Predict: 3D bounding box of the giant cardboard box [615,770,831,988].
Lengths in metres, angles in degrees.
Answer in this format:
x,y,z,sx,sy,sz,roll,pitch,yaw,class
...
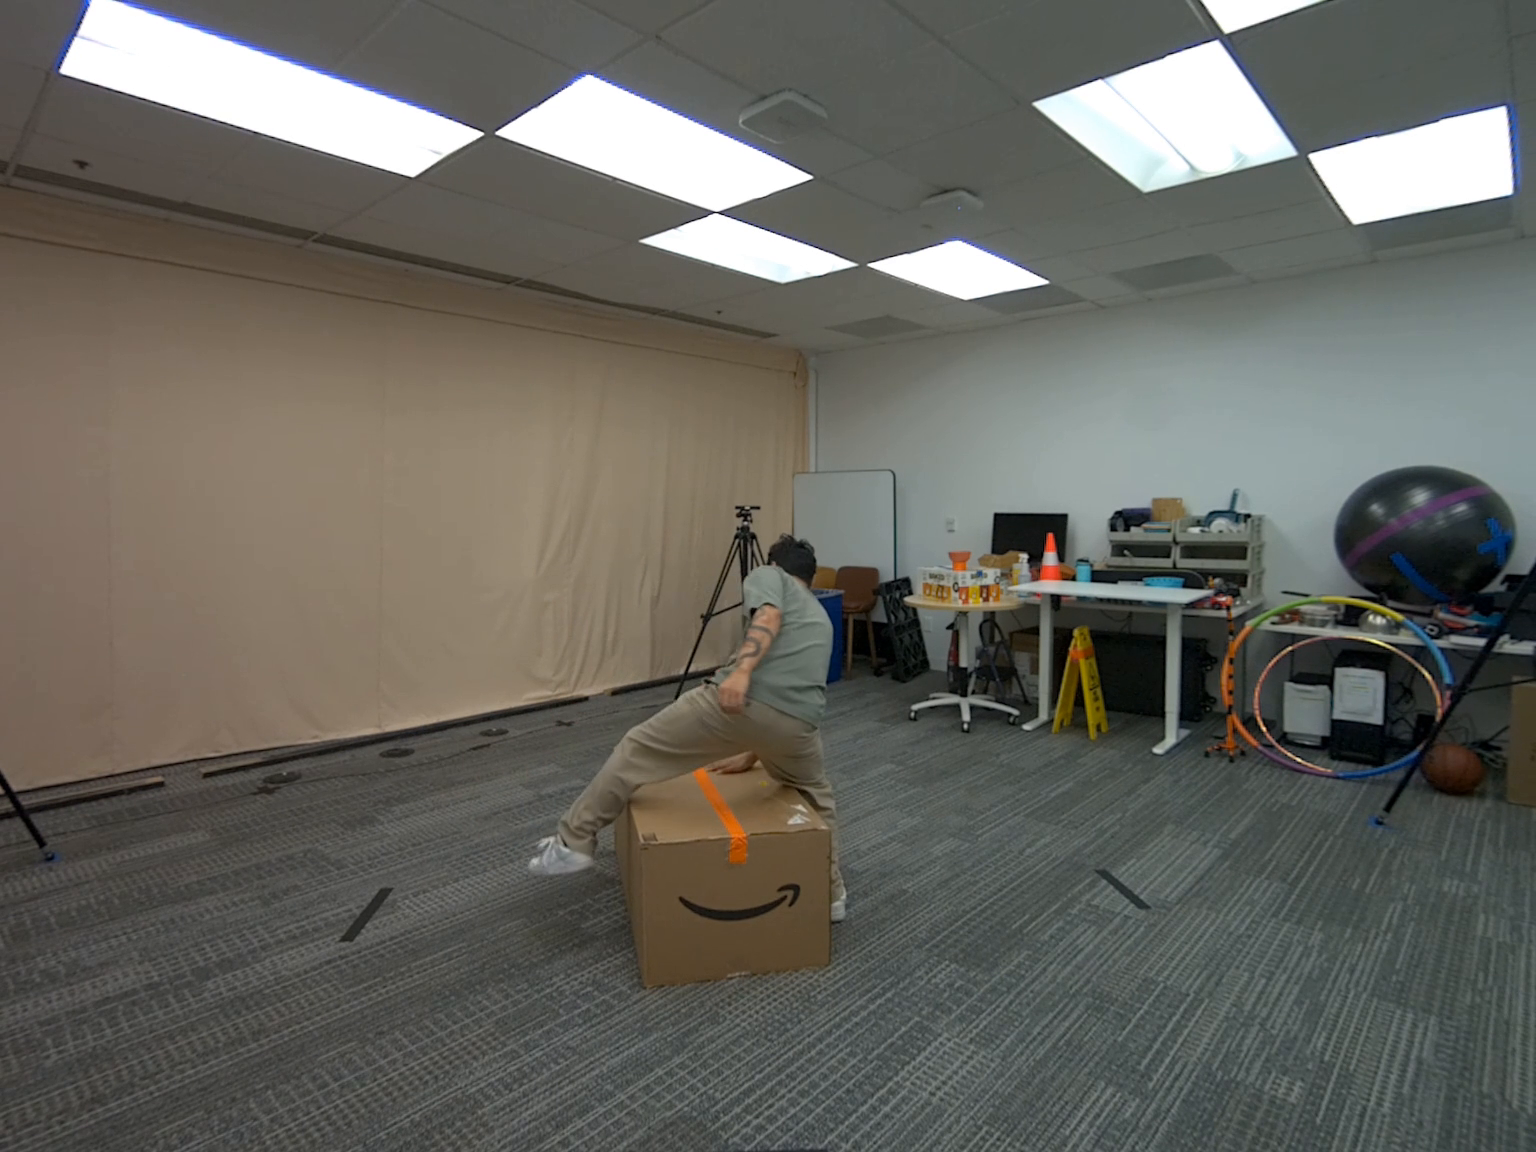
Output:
x,y,z,sx,sy,sz,roll,pitch,yaw,class
-0.218,0.934,2.975,0.569,0.425,1.042,0,4,-14,giant cardboard box
